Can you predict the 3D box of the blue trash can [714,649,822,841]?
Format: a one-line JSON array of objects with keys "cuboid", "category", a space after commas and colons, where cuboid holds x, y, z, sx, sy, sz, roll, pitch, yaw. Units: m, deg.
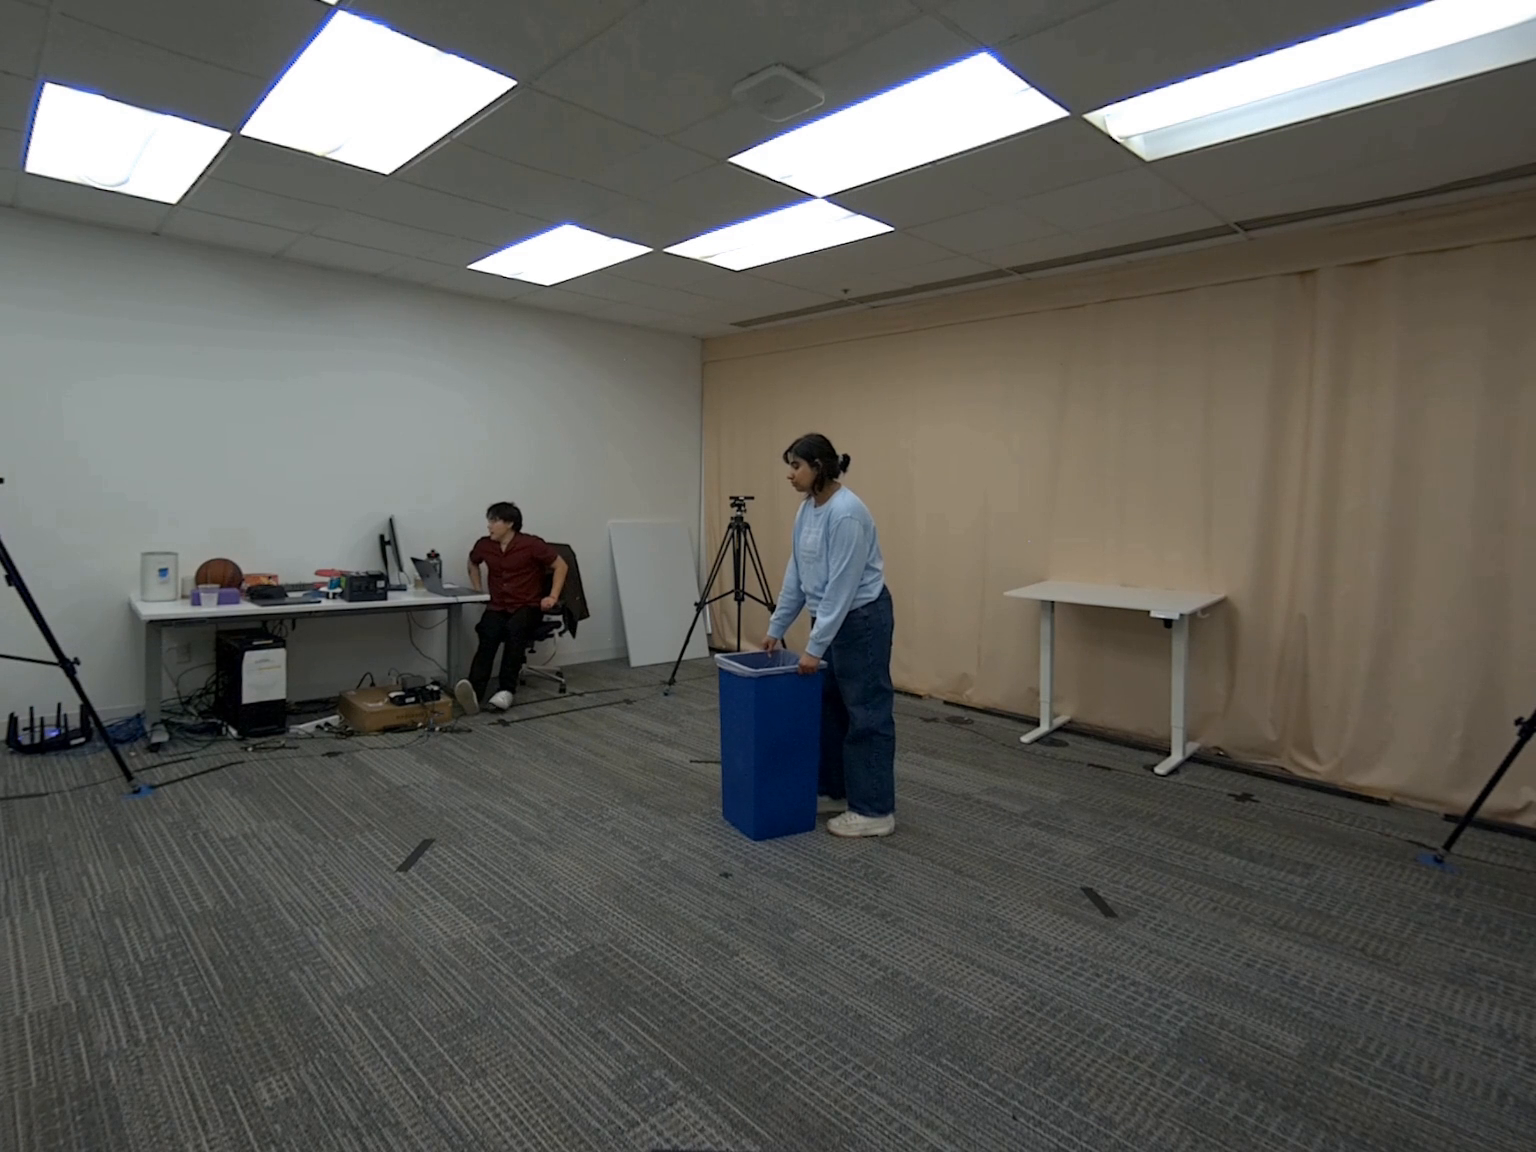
[{"cuboid": [-0.006, 0.703, 3.583, 0.367, 0.712, 0.386, -2, 4, -29], "category": "blue trash can"}]
